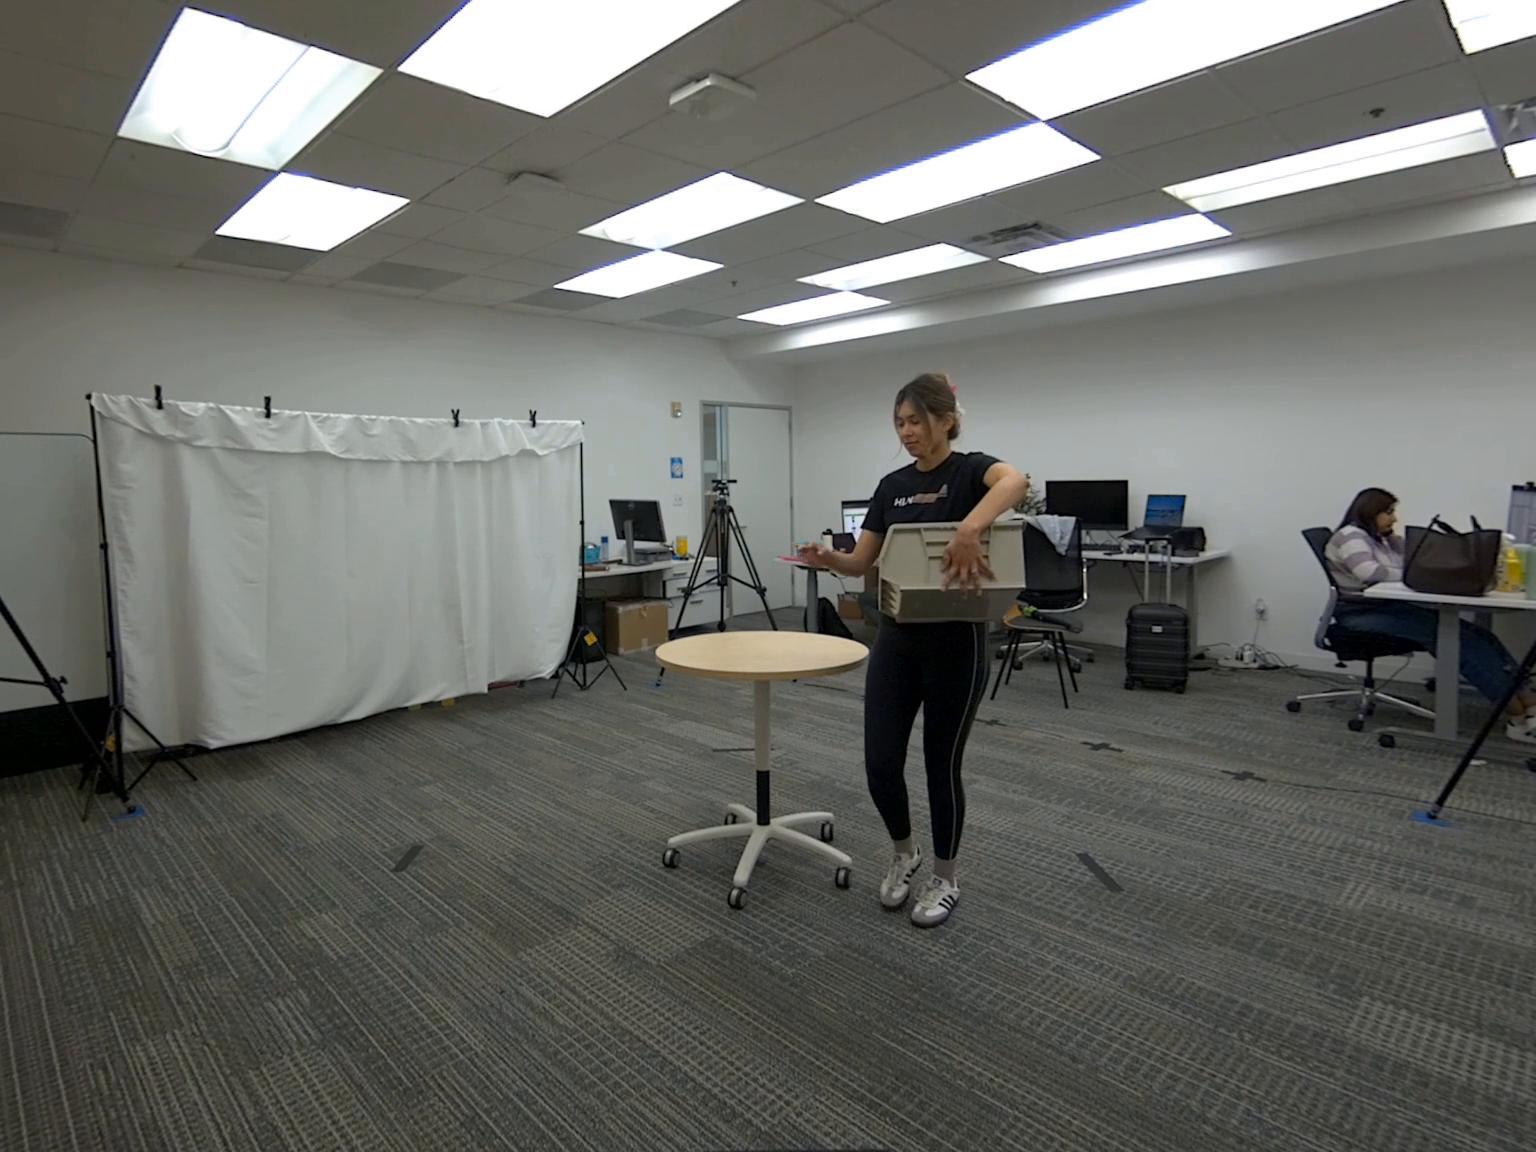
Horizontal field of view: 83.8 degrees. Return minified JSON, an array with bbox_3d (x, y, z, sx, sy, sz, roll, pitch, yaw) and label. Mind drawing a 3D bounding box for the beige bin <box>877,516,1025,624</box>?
[{"bbox_3d":[0.503,0.003,2.406,0.381,0.192,0.412,-1,-16,8],"label":"beige bin"}]
